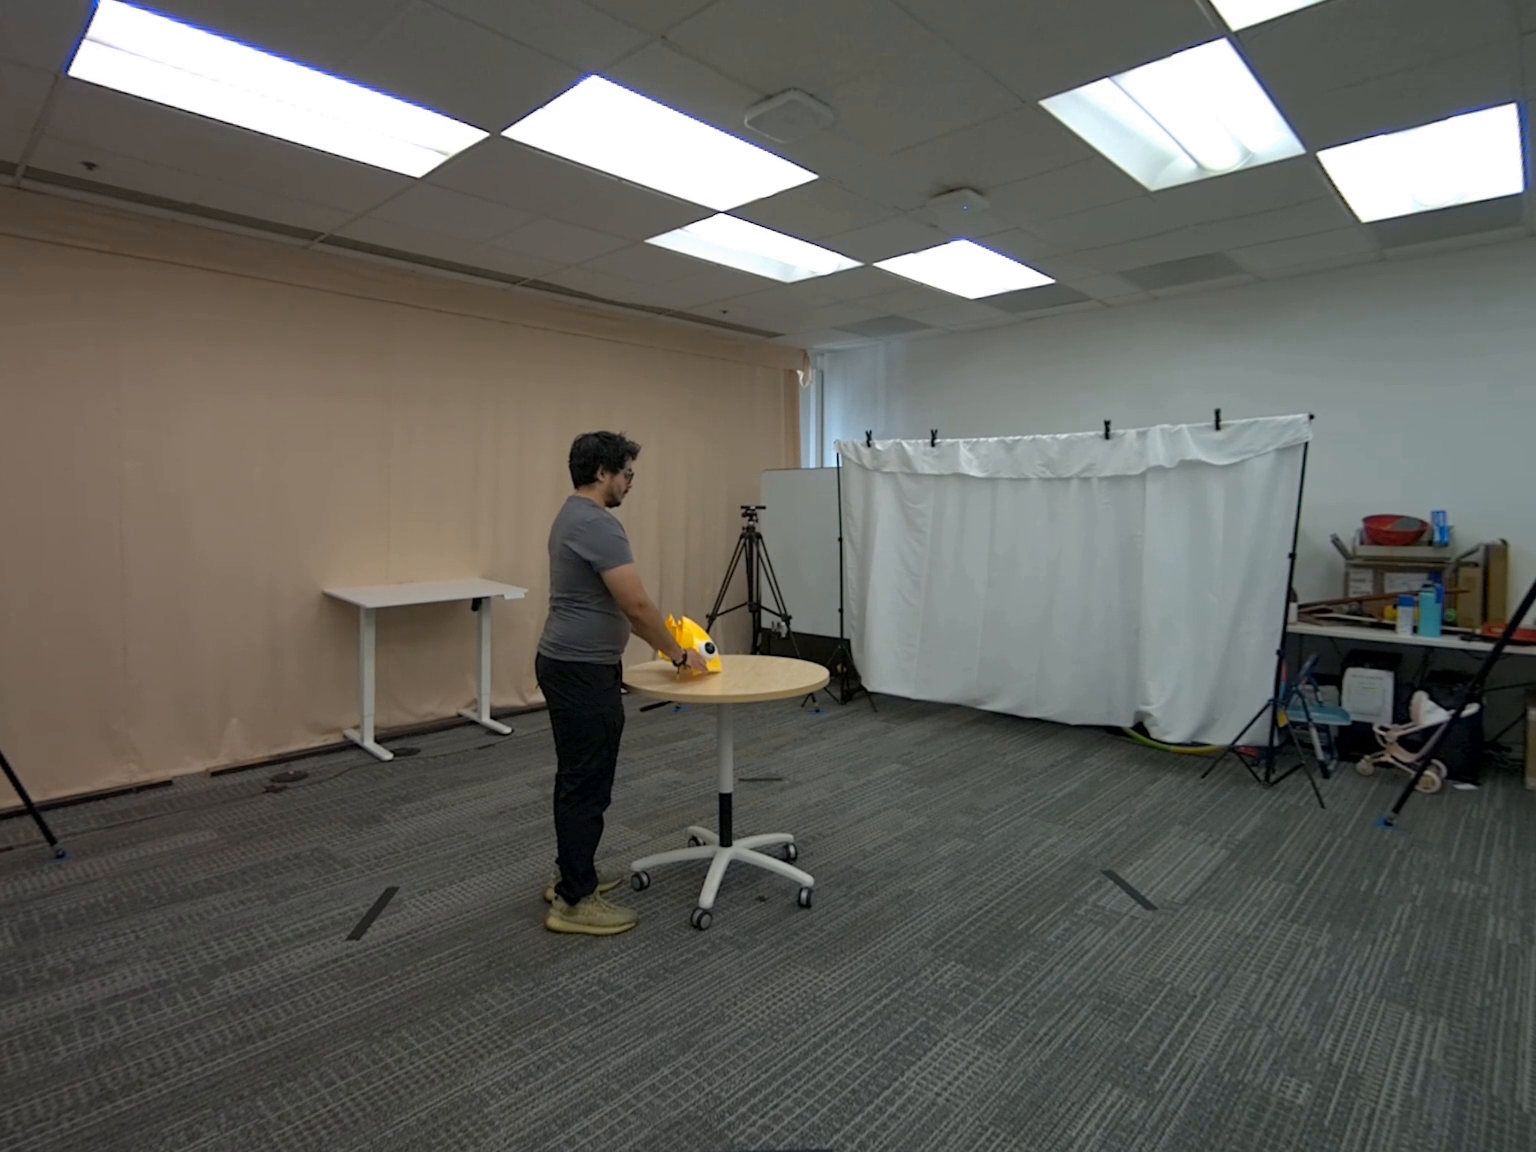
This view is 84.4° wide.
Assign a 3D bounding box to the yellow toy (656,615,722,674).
[{"bbox_3d":[-0.251,0.263,3.042,0.225,0.193,0.210,17,-5,-24],"label":"yellow toy"}]
